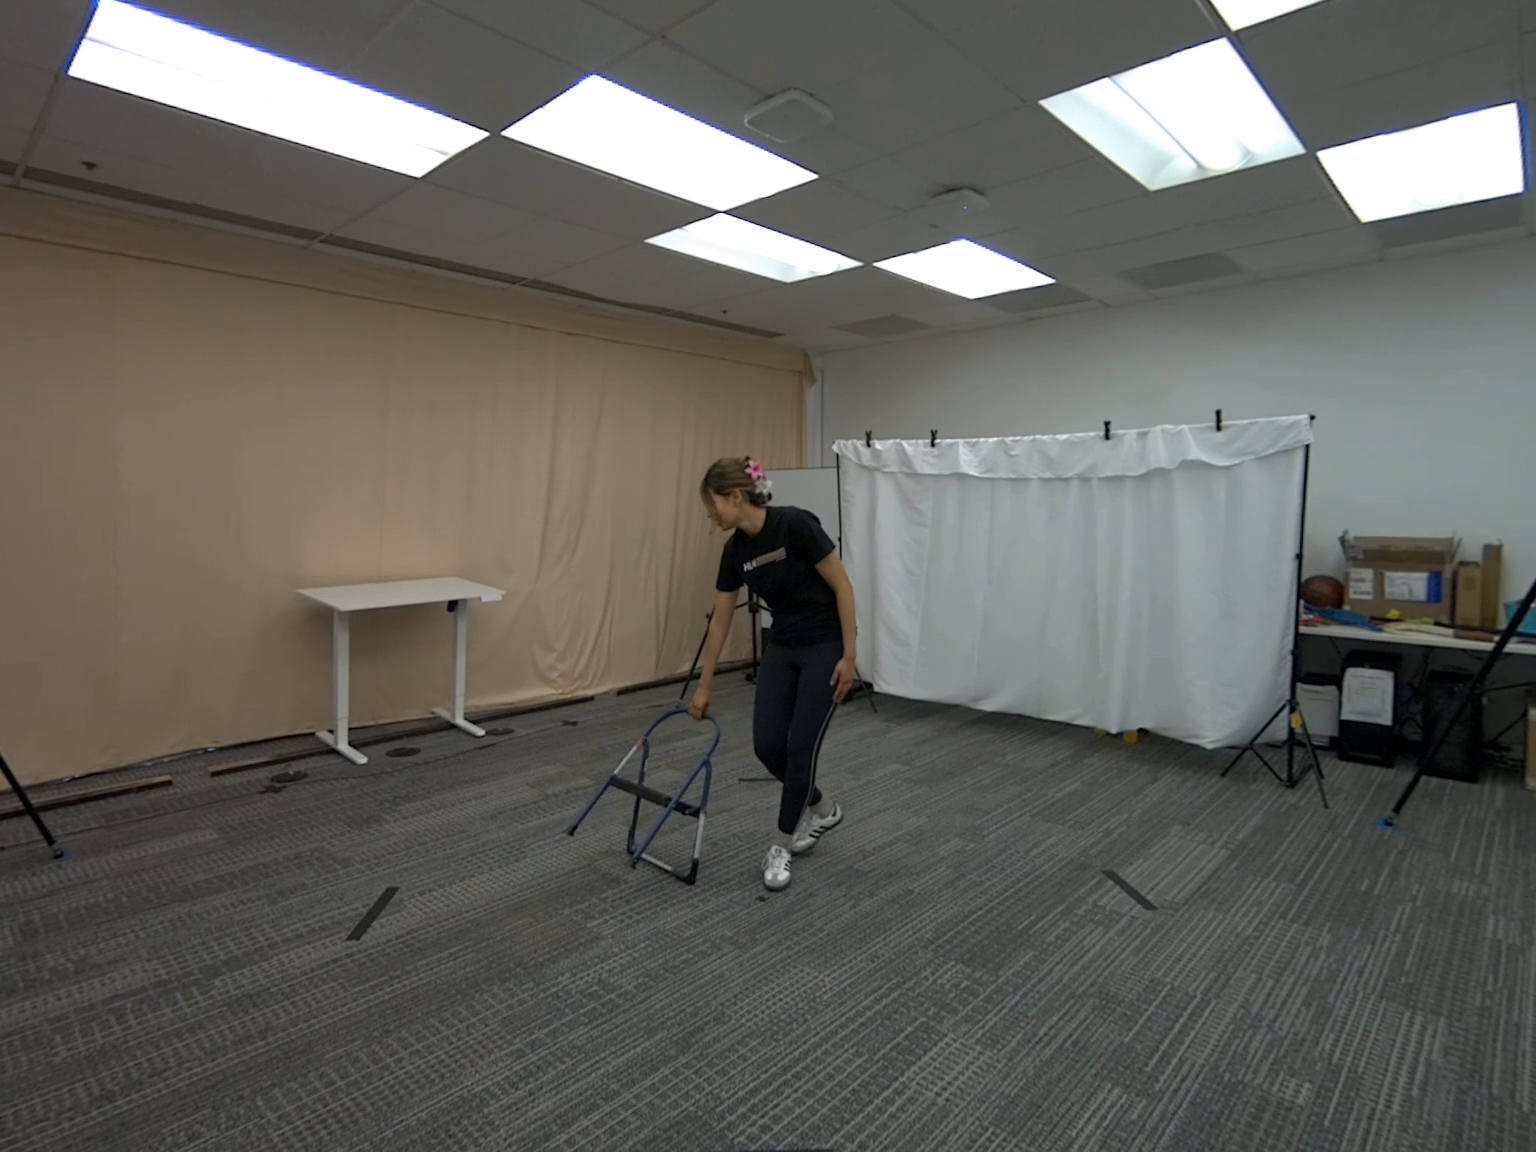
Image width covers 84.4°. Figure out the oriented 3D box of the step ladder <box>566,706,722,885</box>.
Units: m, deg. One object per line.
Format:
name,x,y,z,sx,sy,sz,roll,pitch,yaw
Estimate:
step ladder,-0.418,0.784,3.226,0.445,0.608,0.337,4,-22,46
